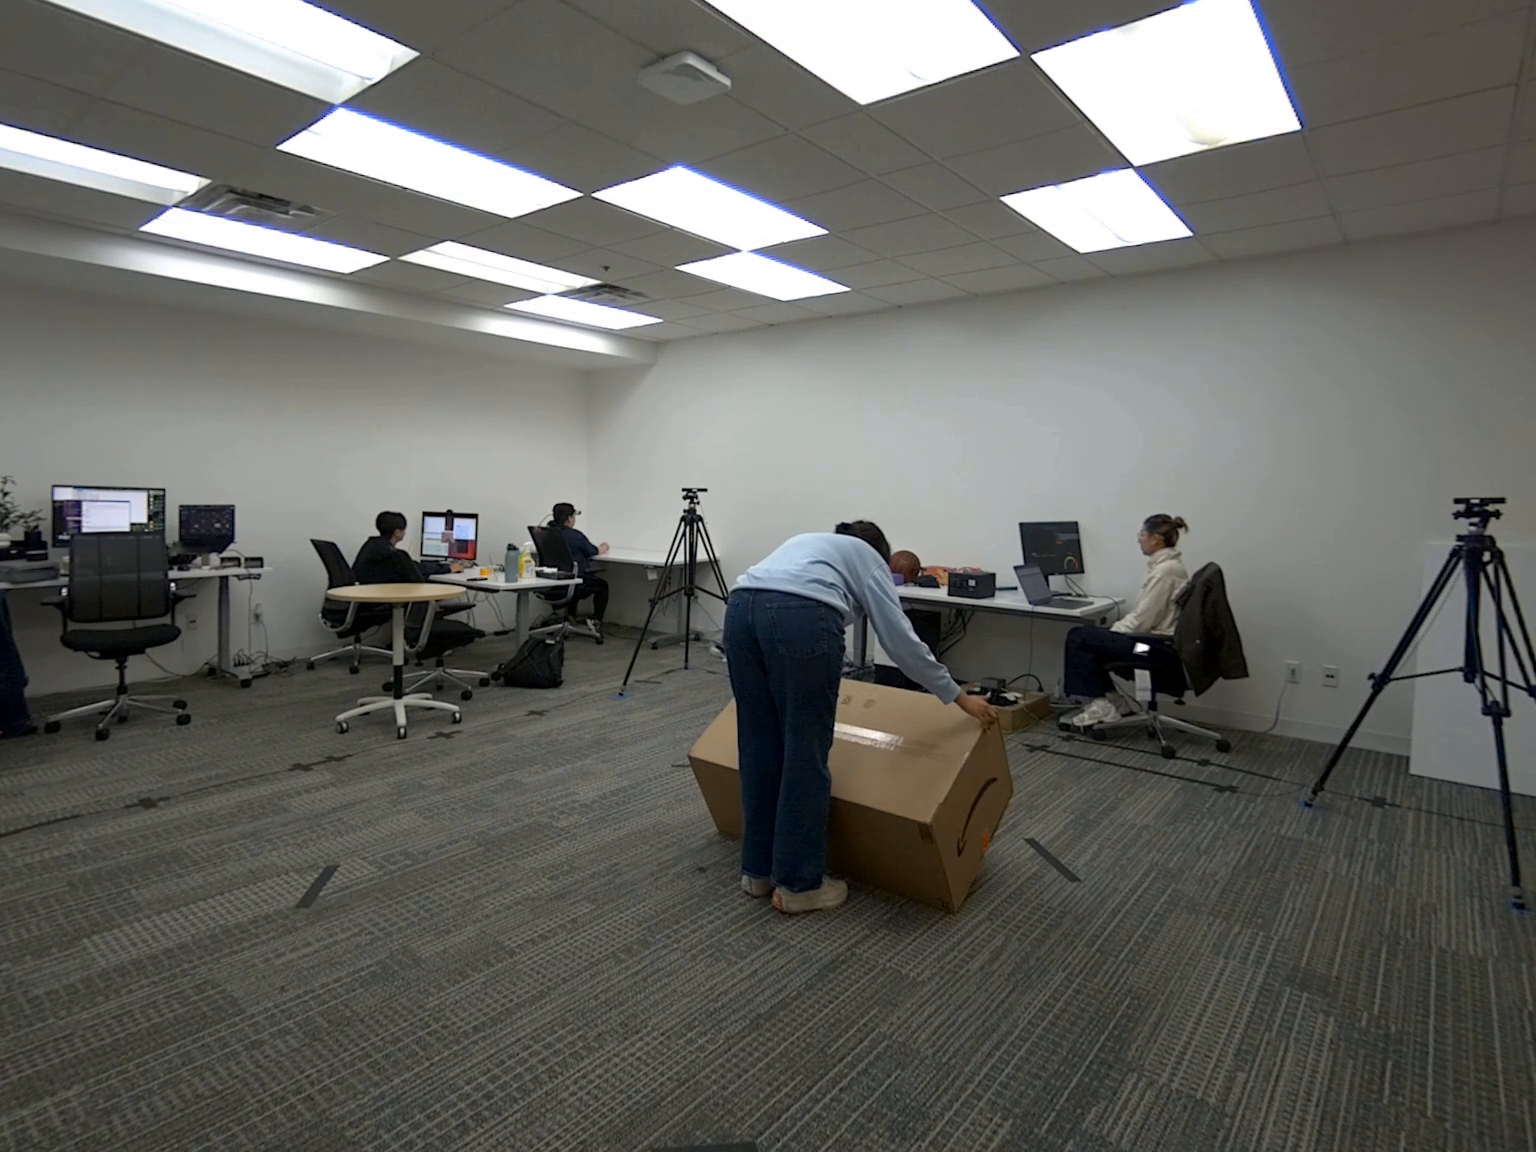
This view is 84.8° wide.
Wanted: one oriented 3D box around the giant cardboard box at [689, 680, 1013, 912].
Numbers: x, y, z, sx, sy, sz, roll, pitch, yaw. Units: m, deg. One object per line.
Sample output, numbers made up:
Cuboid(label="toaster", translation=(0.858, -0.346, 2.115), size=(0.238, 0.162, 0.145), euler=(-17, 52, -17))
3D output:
Cuboid(label="giant cardboard box", translation=(0.297, 0.746, 3.231), size=(1.060, 0.414, 0.575), euler=(5, 35, 38))
